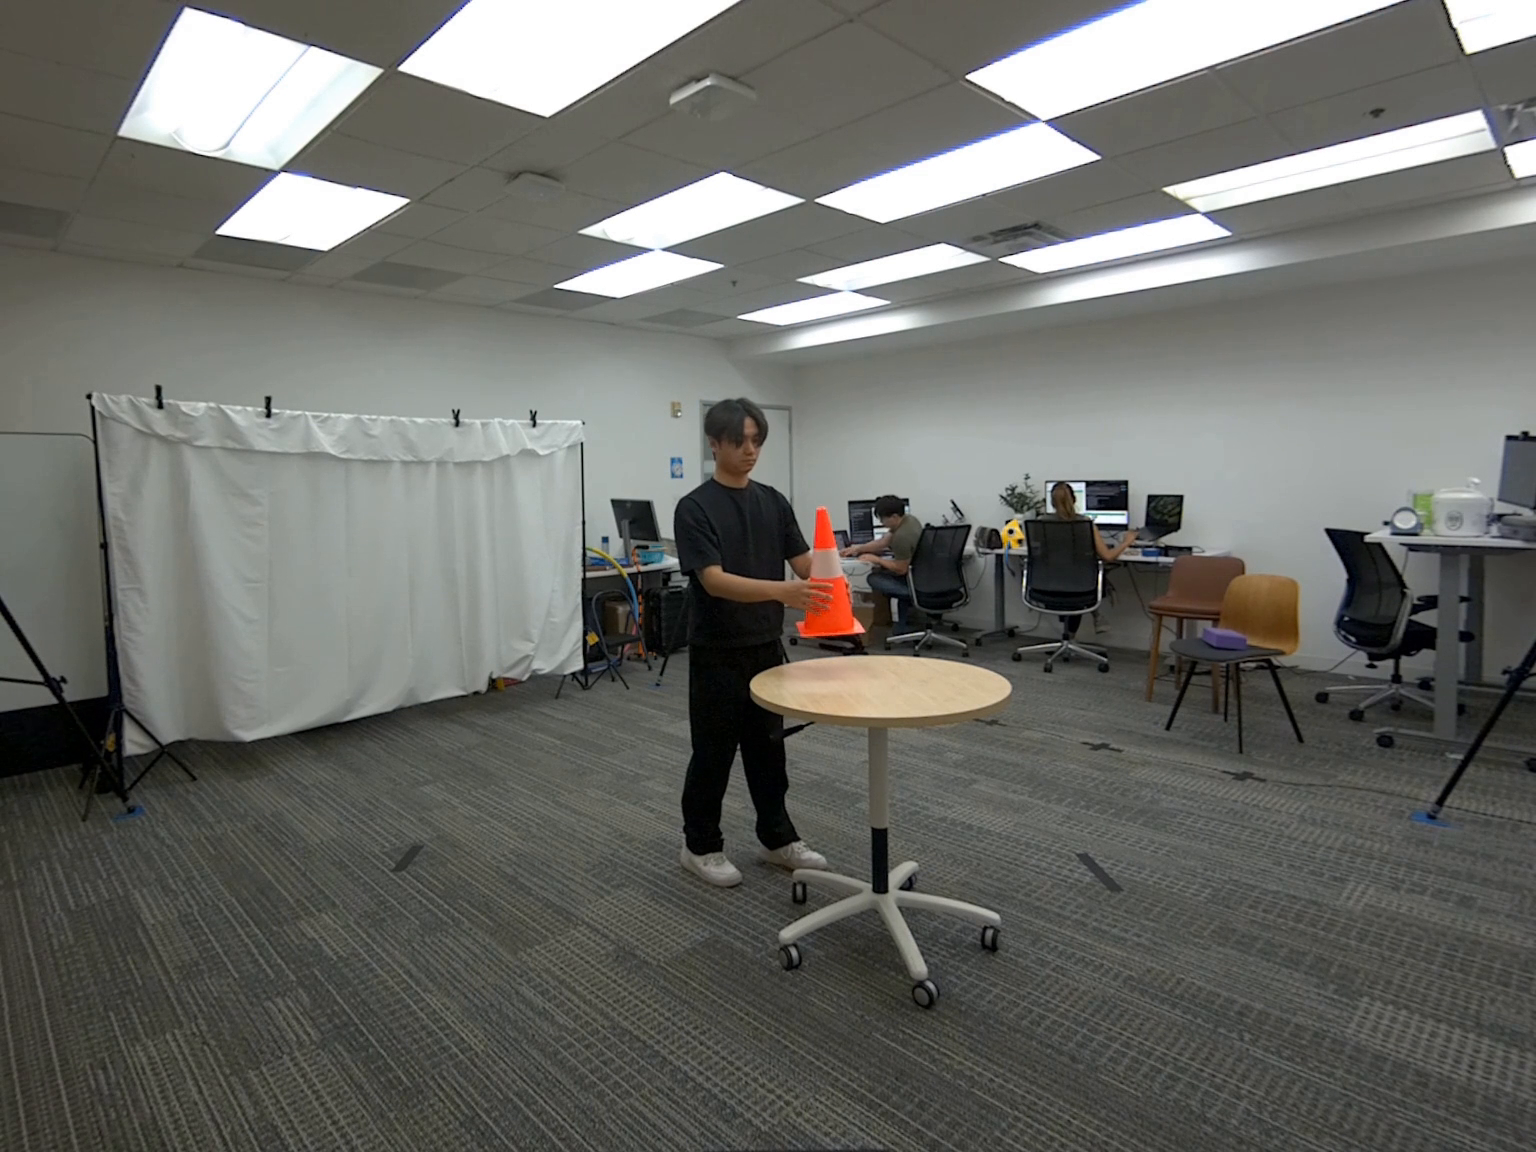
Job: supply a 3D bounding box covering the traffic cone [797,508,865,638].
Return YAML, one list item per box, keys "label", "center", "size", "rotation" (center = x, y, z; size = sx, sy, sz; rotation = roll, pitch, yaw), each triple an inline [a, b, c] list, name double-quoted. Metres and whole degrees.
- label: "traffic cone"
  center: [0.190, -0.024, 2.673]
  size: [0.199, 0.381, 0.211]
  rotation: [-11, 10, -31]
